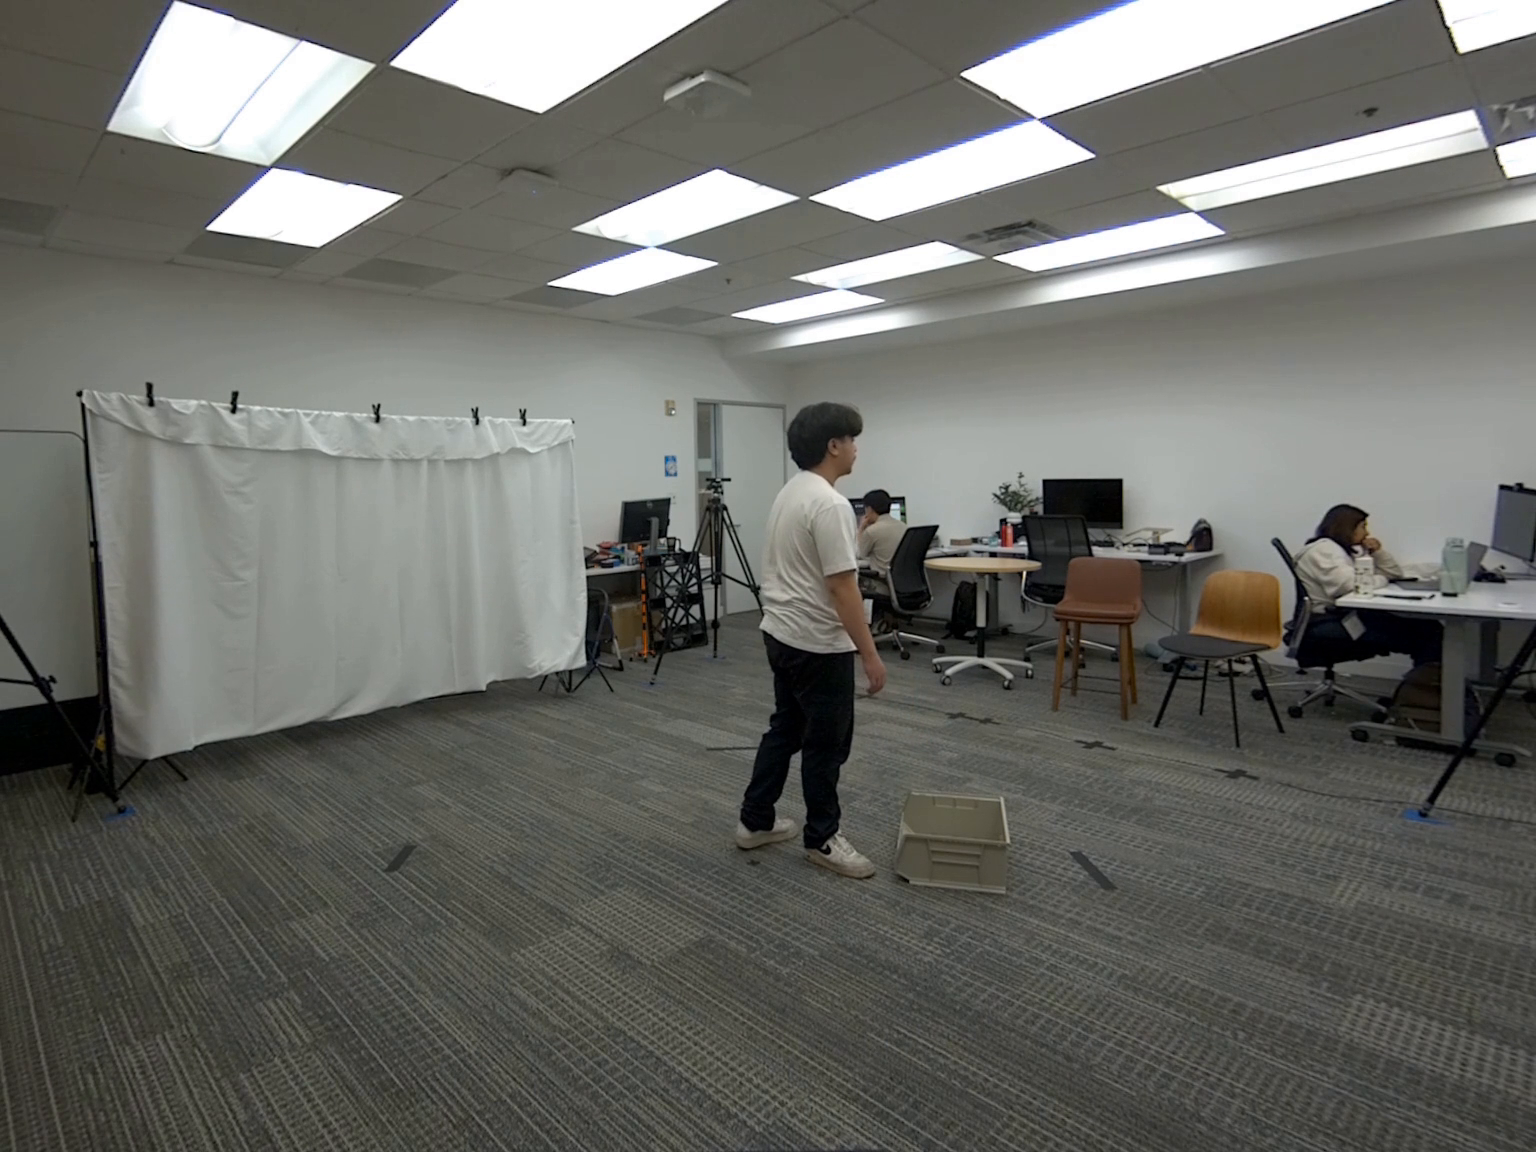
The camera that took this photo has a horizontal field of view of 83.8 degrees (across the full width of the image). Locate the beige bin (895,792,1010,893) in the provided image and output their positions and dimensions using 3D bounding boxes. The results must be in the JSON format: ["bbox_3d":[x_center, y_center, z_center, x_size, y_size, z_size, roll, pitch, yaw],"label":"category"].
[{"bbox_3d":[0.664,0.944,3.073,0.382,0.188,0.418,1,5,13],"label":"beige bin"}]
